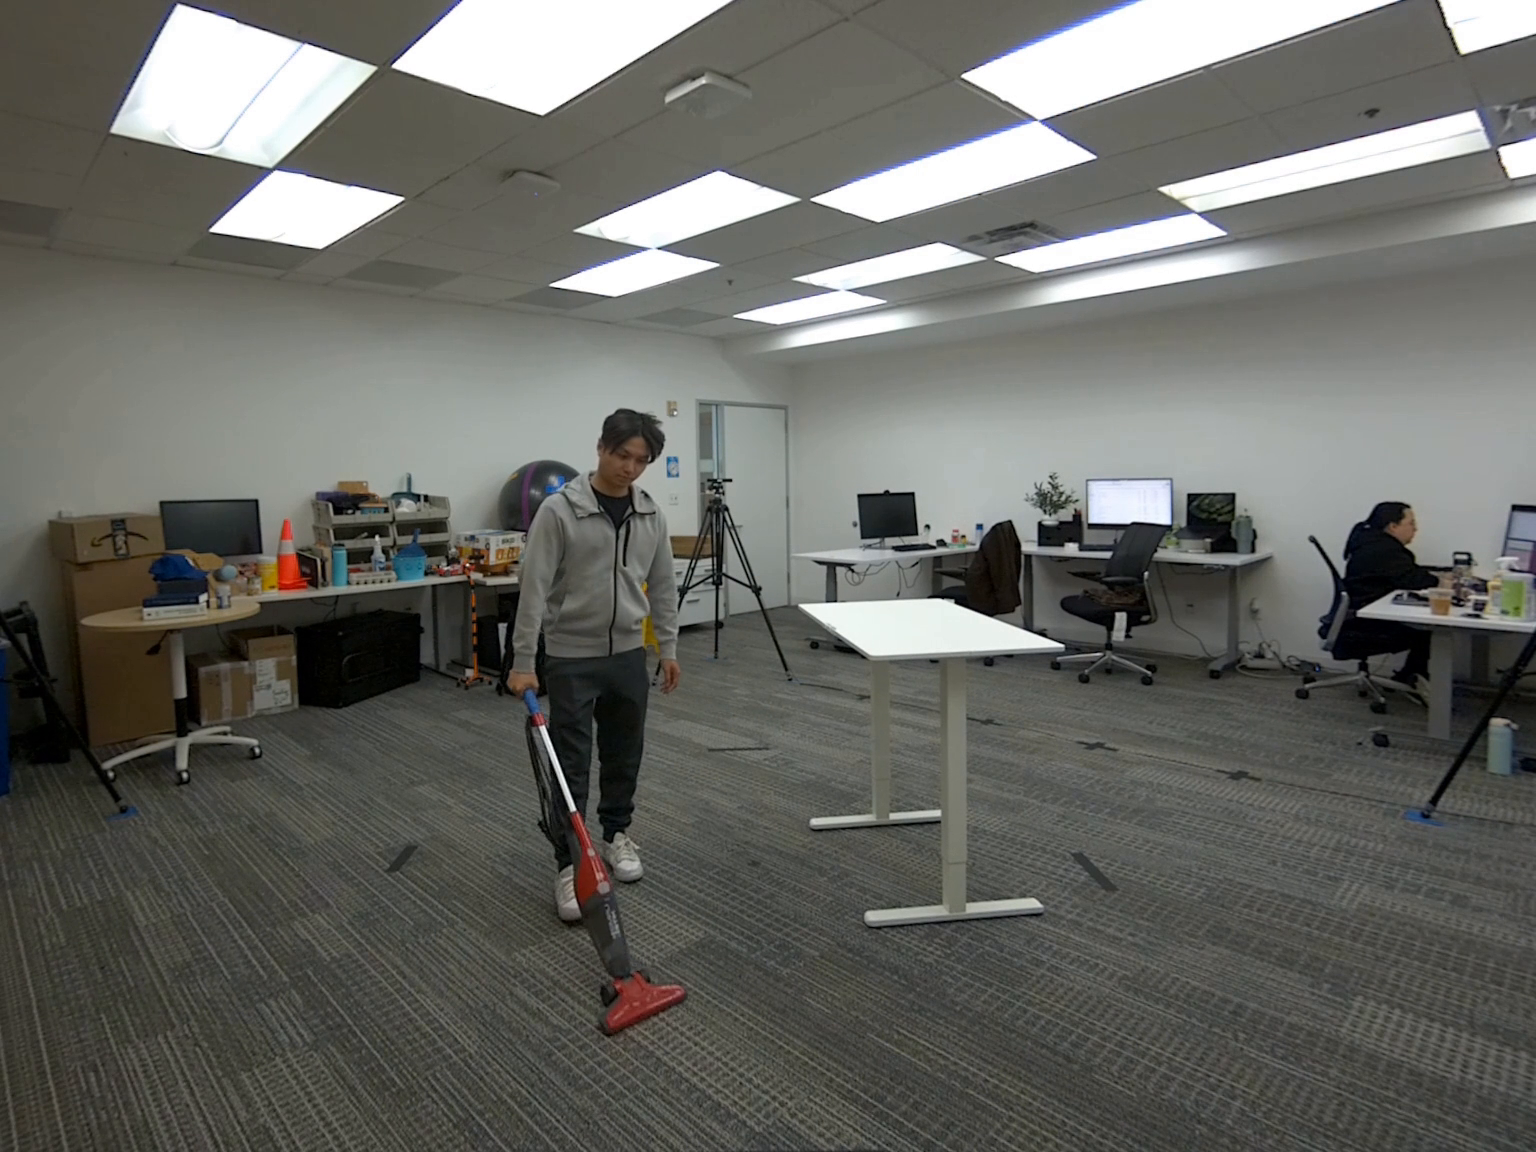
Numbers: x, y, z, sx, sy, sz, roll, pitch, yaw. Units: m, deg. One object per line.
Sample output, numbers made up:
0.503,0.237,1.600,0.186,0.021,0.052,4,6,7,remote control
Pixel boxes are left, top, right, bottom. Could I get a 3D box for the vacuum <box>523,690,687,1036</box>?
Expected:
-0.579,0.742,2.537,0.246,1.084,0.143,-3,-39,-41,vacuum
